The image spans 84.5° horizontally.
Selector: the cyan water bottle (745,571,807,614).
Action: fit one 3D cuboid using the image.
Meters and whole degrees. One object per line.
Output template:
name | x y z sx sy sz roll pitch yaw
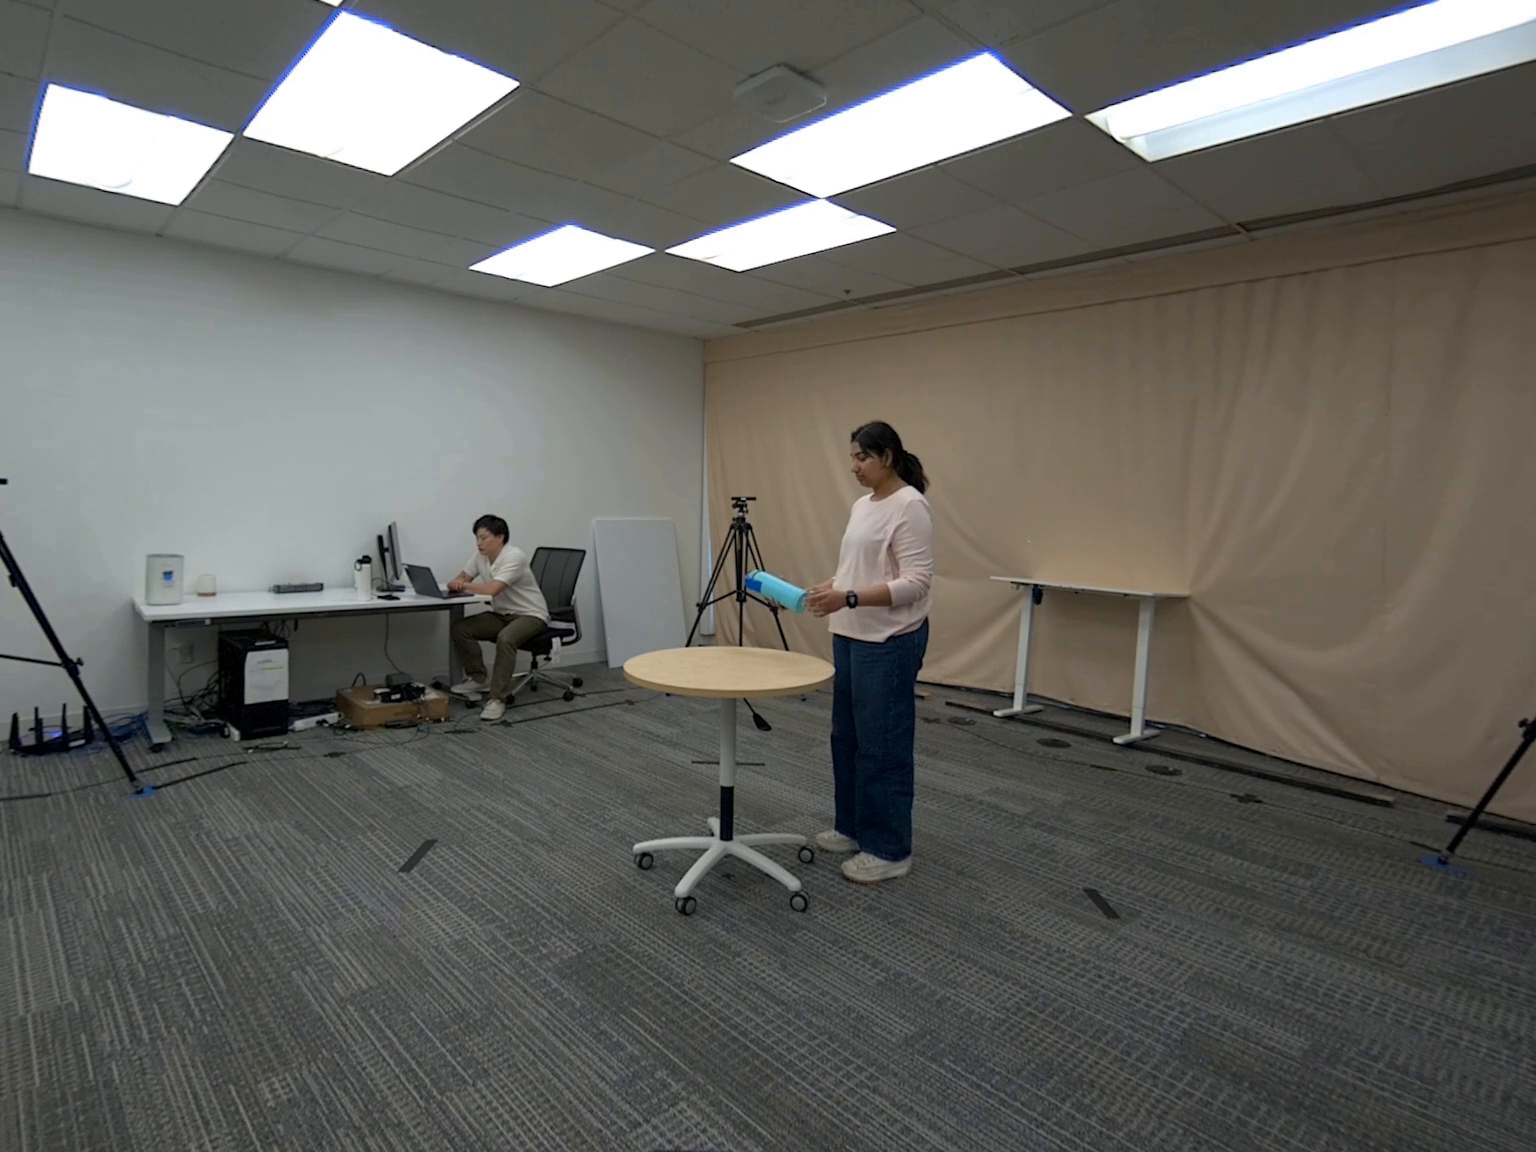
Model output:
cyan water bottle | 0.024 0.051 3.265 0.291 0.092 0.090 25 17 34
